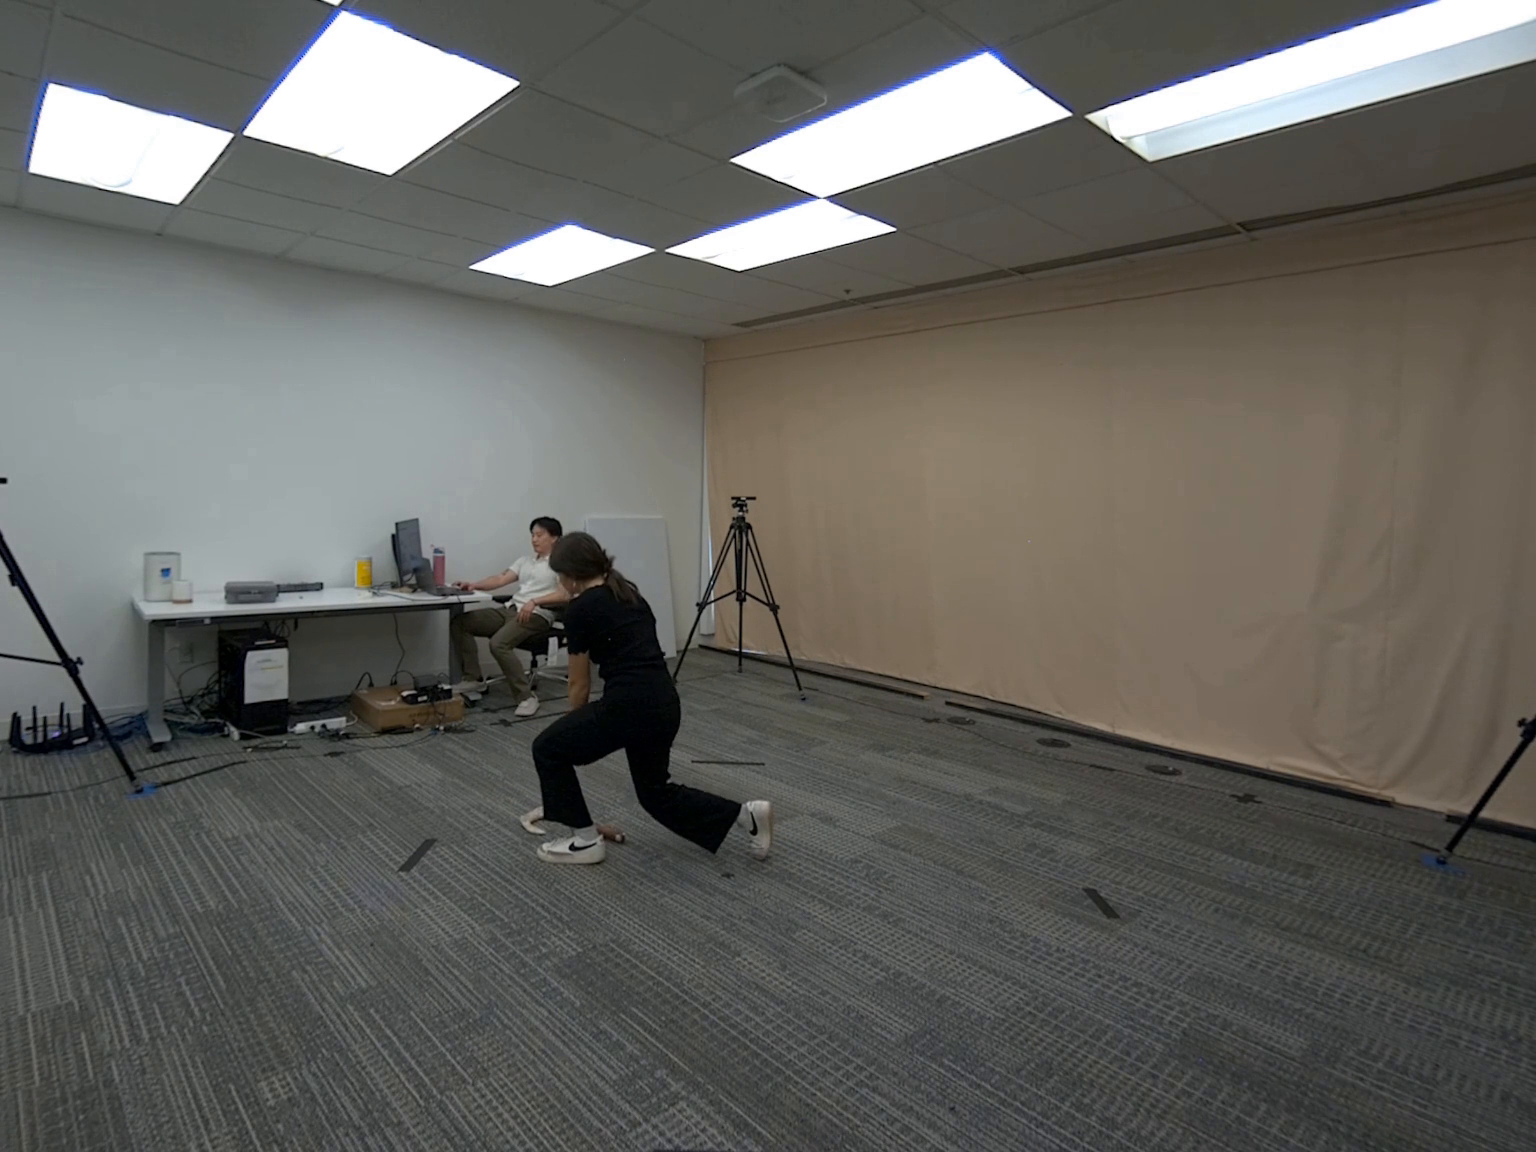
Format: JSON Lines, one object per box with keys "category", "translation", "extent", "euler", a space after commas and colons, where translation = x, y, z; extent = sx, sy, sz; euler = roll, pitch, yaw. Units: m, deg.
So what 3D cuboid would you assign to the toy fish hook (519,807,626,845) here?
{"category": "toy fish hook", "translation": [-0.822, 1.042, 3.470], "extent": [0.518, 0.048, 0.221], "euler": [4, 13, 34]}
